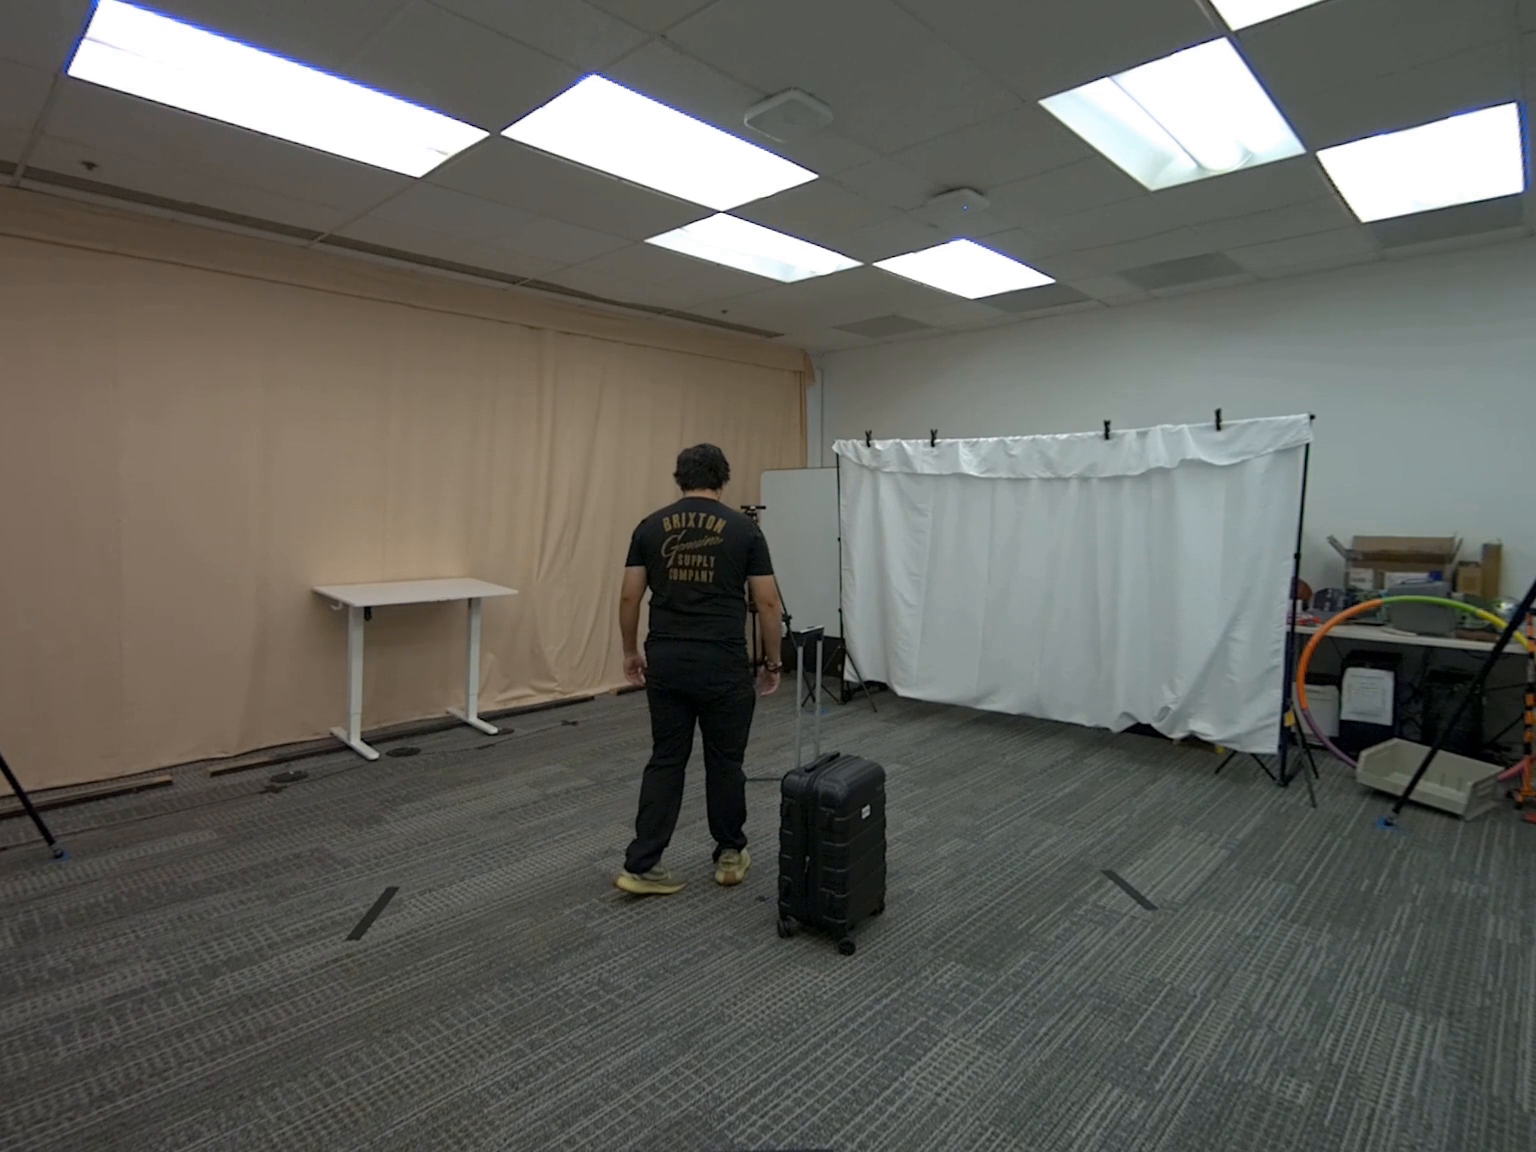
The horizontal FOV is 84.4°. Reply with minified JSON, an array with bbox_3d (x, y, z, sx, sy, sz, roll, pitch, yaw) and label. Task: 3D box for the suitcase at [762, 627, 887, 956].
[{"bbox_3d":[0.230,0.684,2.773,0.265,0.976,0.373,4,5,31],"label":"suitcase"}]
